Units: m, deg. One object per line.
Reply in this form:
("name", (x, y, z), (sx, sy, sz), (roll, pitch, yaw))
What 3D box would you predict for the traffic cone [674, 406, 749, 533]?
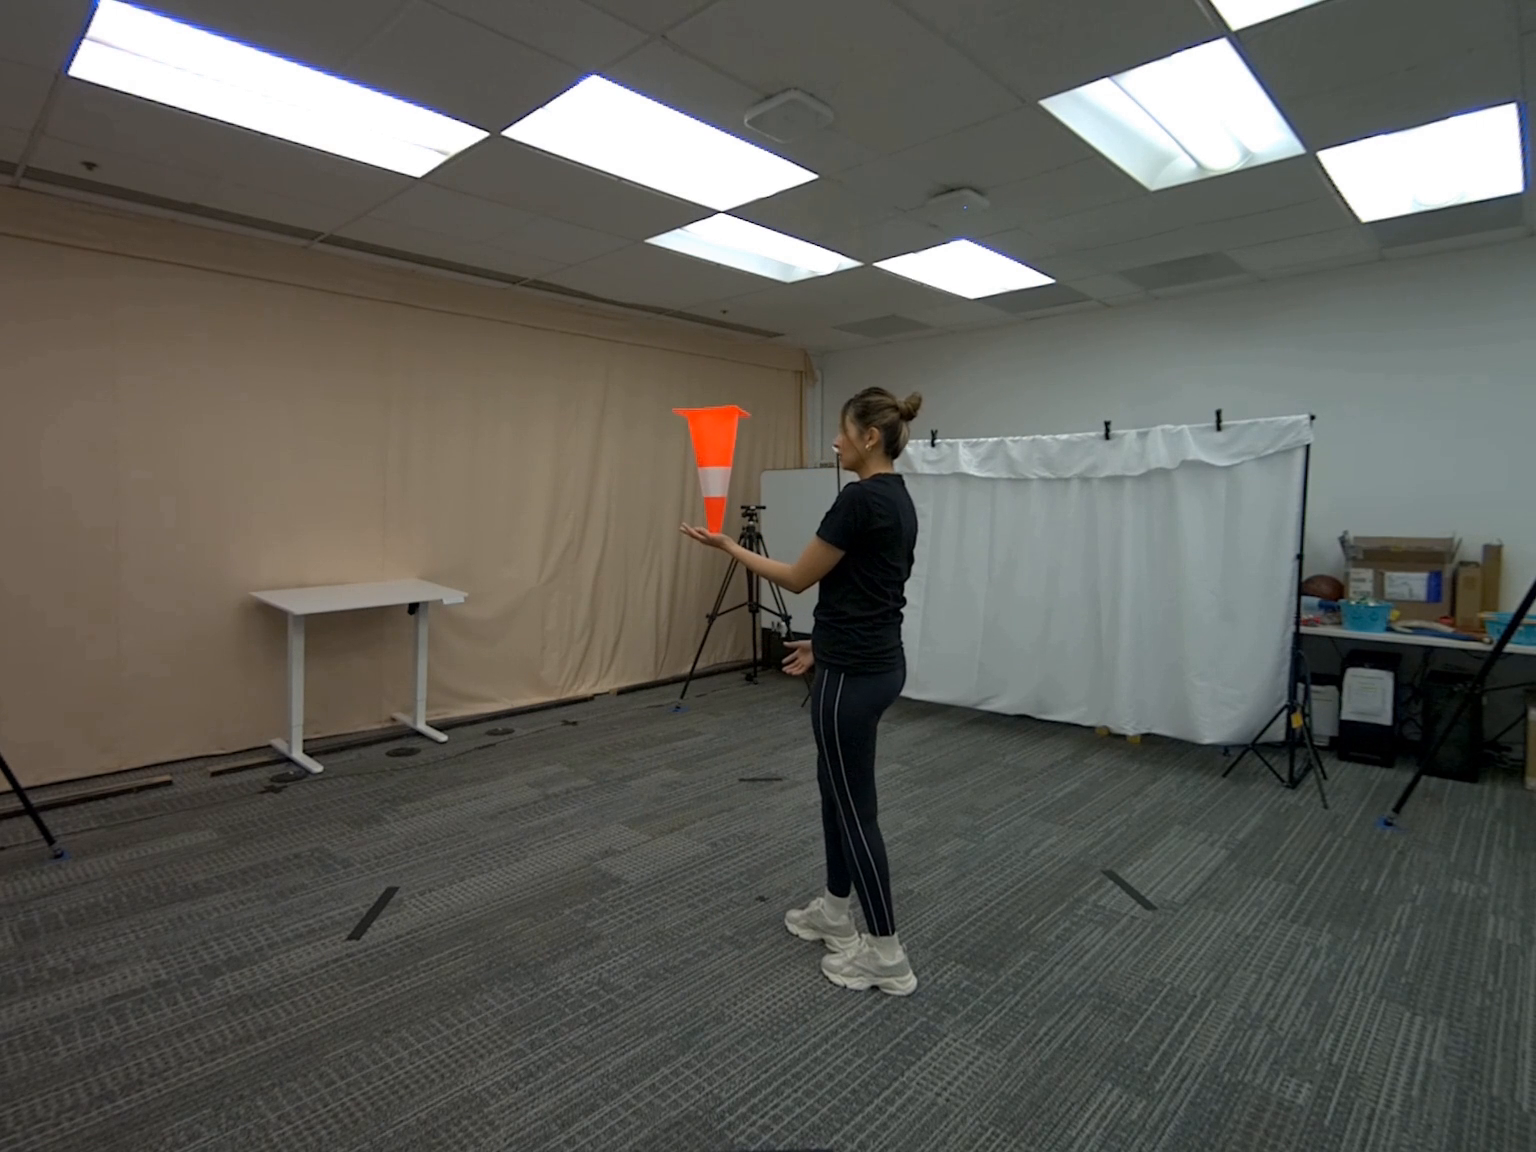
("traffic cone", (-0.163, -0.307, 2.553), (0.207, 0.383, 0.201), (-2, 1, 19))
